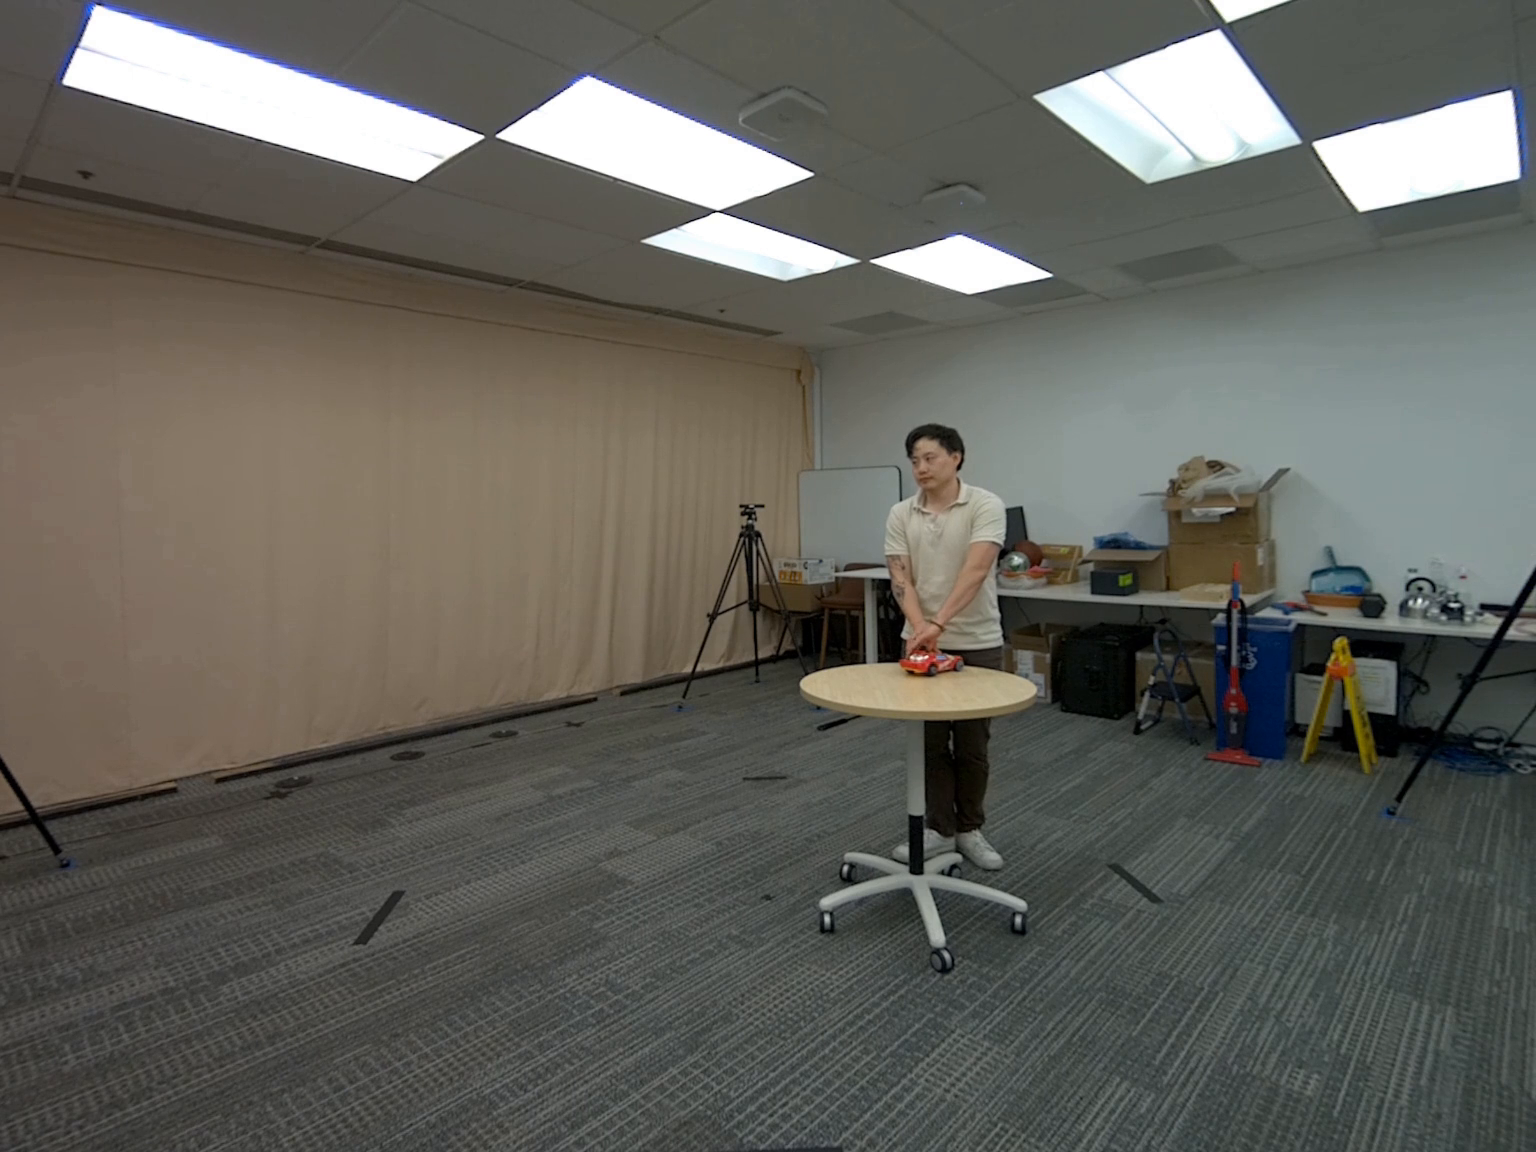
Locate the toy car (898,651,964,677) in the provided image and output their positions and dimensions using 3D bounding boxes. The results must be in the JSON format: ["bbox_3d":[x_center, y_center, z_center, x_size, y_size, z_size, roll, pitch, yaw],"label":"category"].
[{"bbox_3d":[0.579,0.318,2.985,0.246,0.083,0.134,12,-3,-36],"label":"toy car"}]
